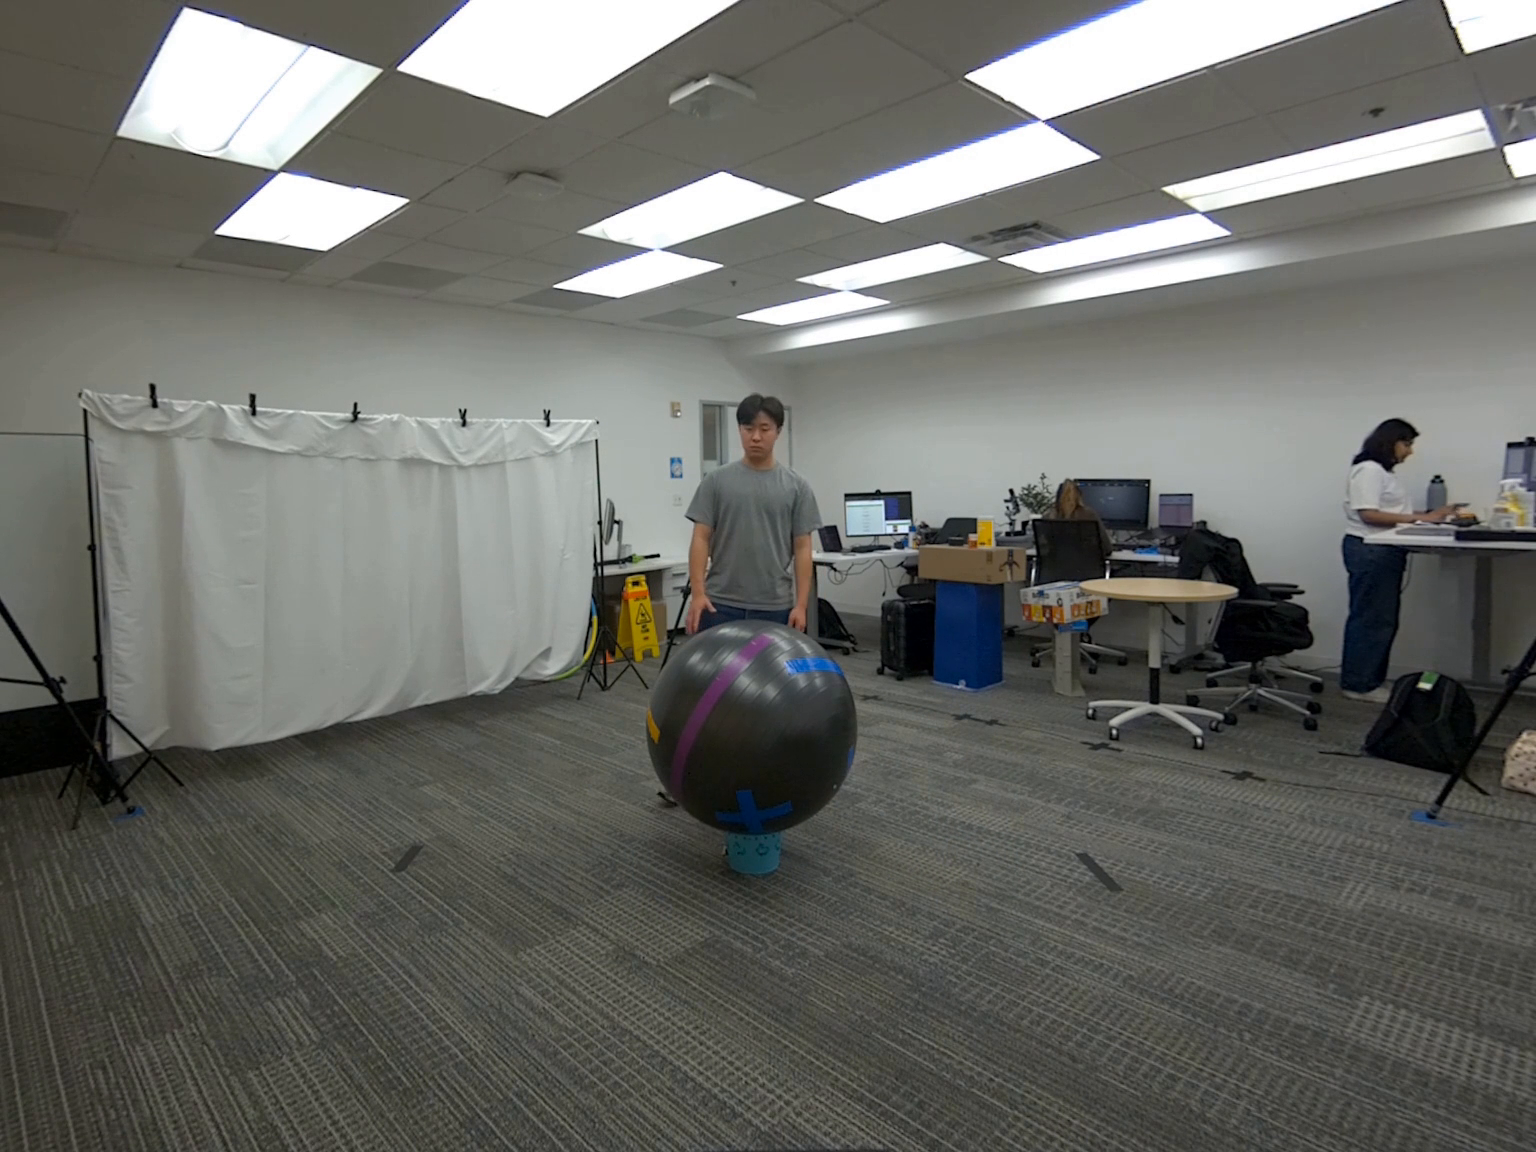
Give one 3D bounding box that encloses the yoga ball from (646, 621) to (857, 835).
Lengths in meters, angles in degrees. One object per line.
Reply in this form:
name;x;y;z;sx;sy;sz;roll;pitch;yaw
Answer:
yoga ball;-0.060;0.542;3.084;0.757;0.755;0.762;-1;5;-2
